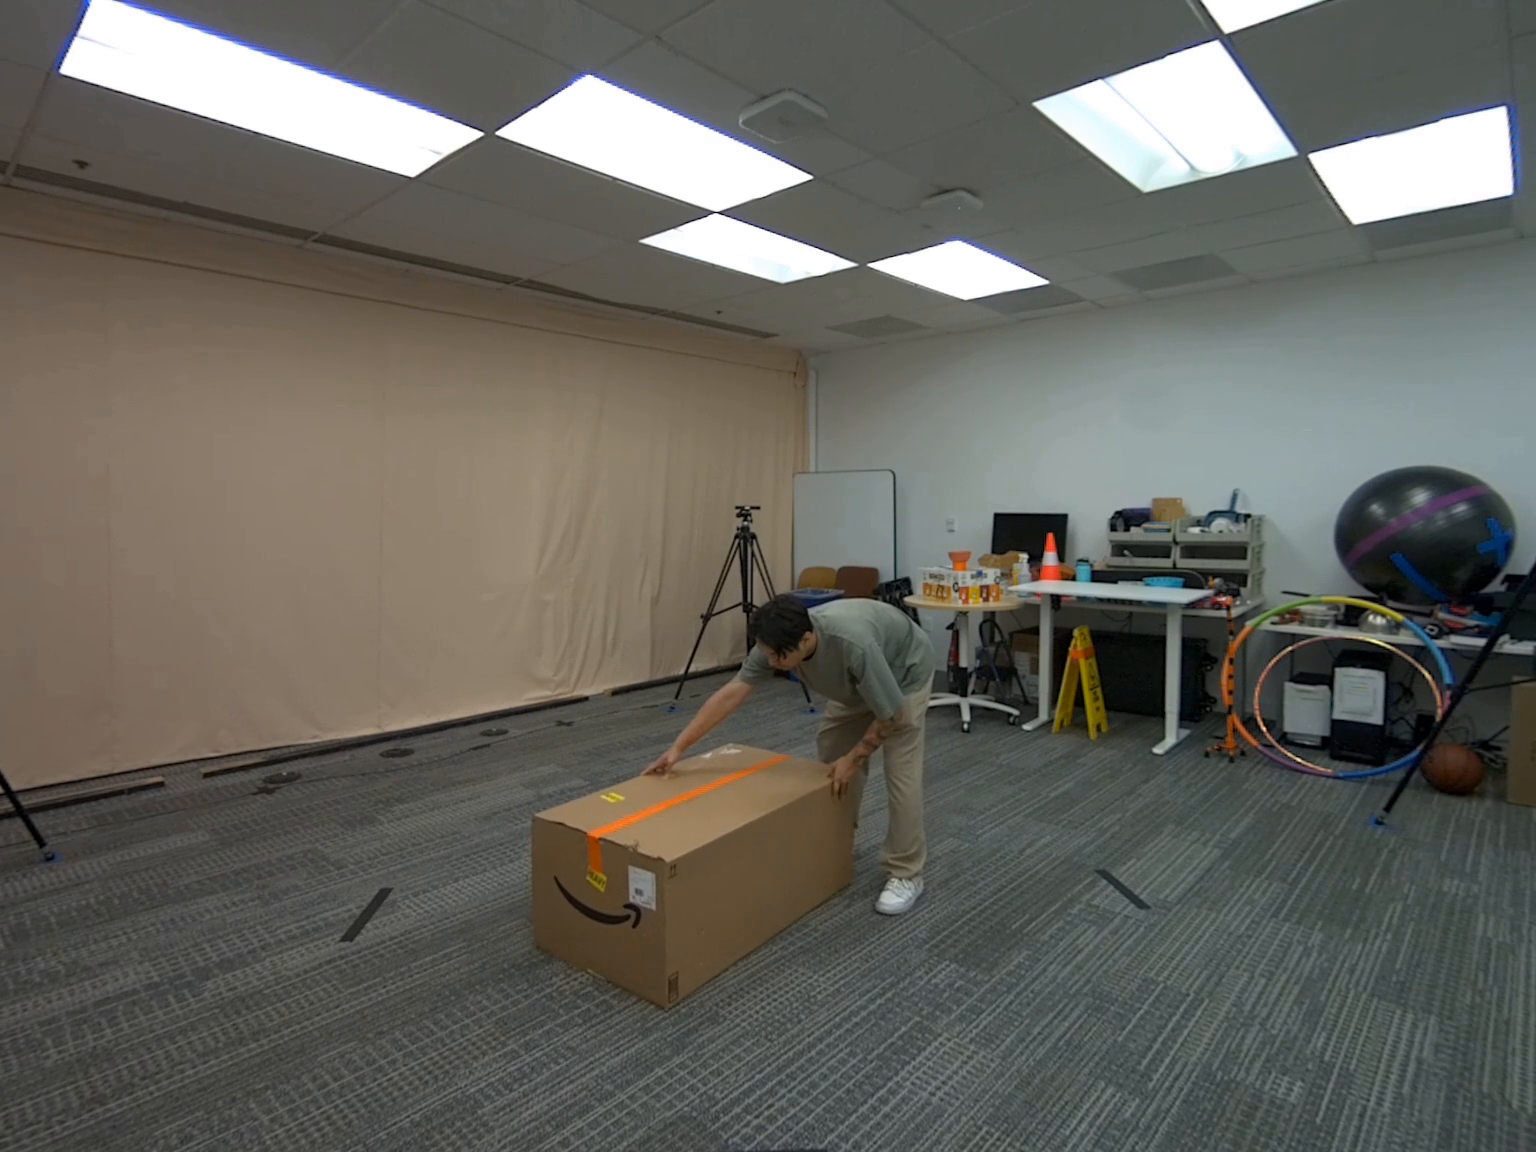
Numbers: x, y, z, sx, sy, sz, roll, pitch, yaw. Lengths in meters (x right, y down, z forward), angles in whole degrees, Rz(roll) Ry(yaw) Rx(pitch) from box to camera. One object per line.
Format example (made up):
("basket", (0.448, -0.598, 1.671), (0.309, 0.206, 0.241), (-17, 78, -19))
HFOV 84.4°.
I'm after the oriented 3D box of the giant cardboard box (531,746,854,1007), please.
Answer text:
("giant cardboard box", (-0.225, 0.942, 2.875), (0.596, 0.425, 0.996), (4, 6, 36))
